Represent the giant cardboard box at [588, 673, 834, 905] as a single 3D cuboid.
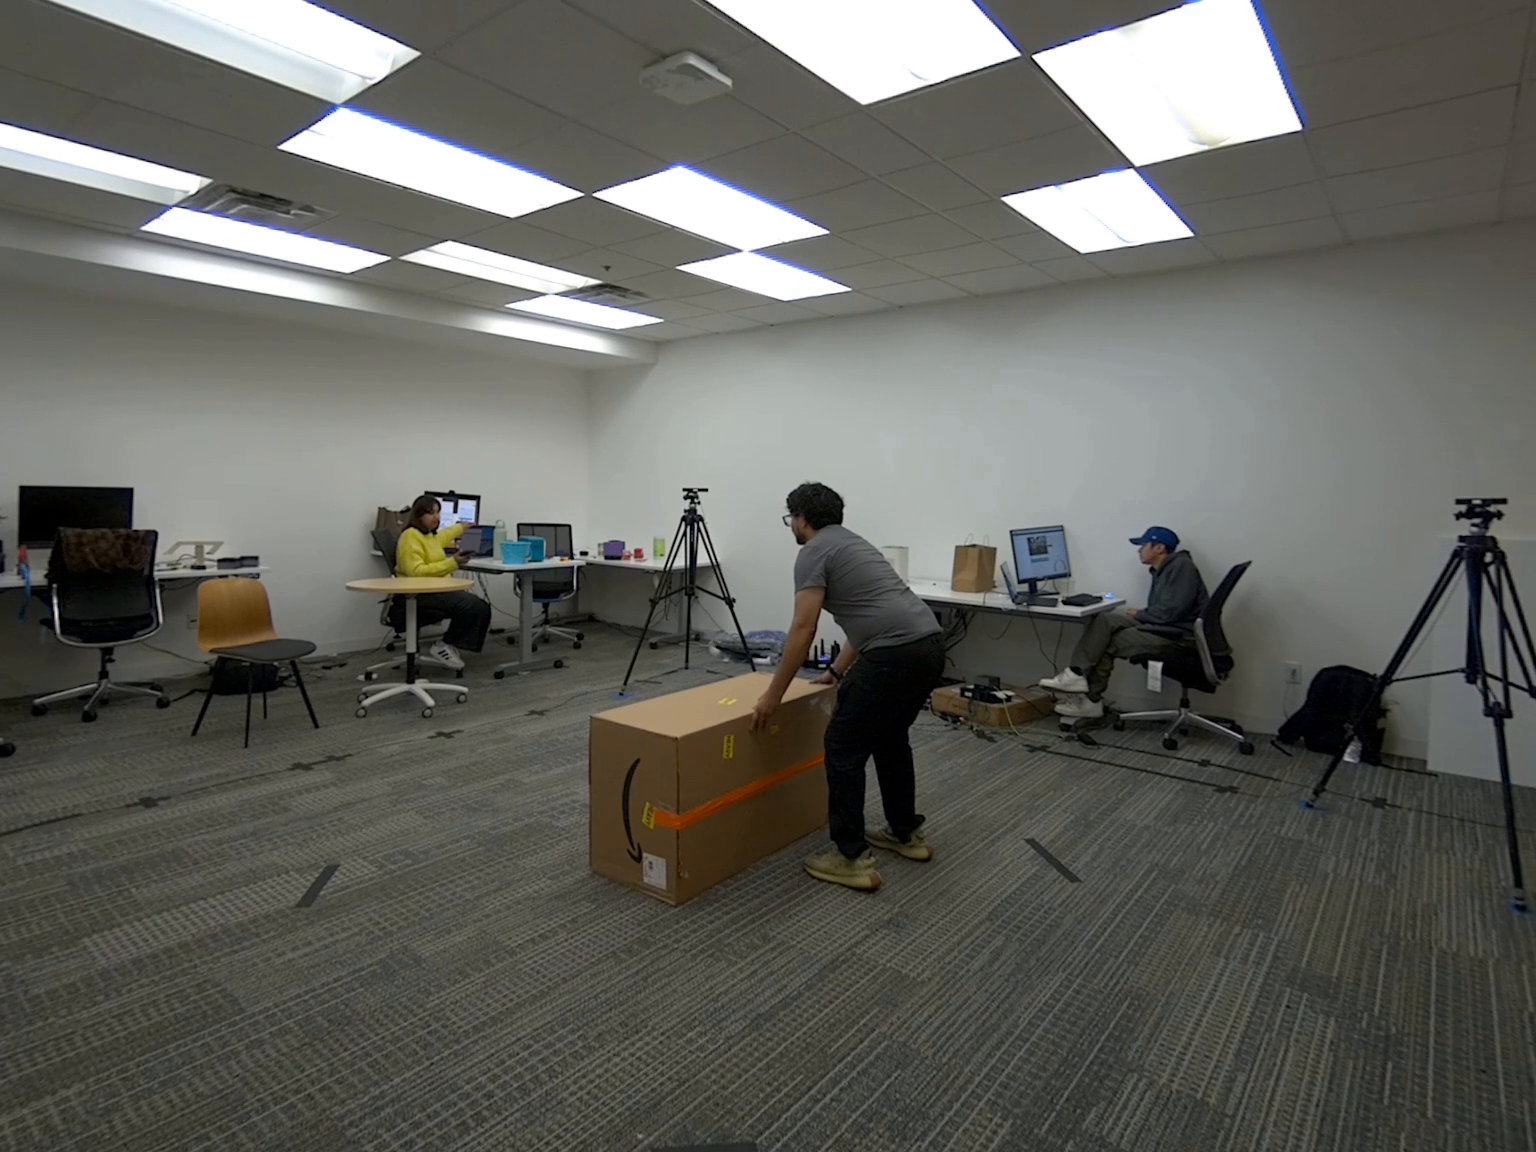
[{"bbox_3d":[-0.186,0.764,3.329,0.440,0.575,0.996,4,5,37],"label":"giant cardboard box"}]
